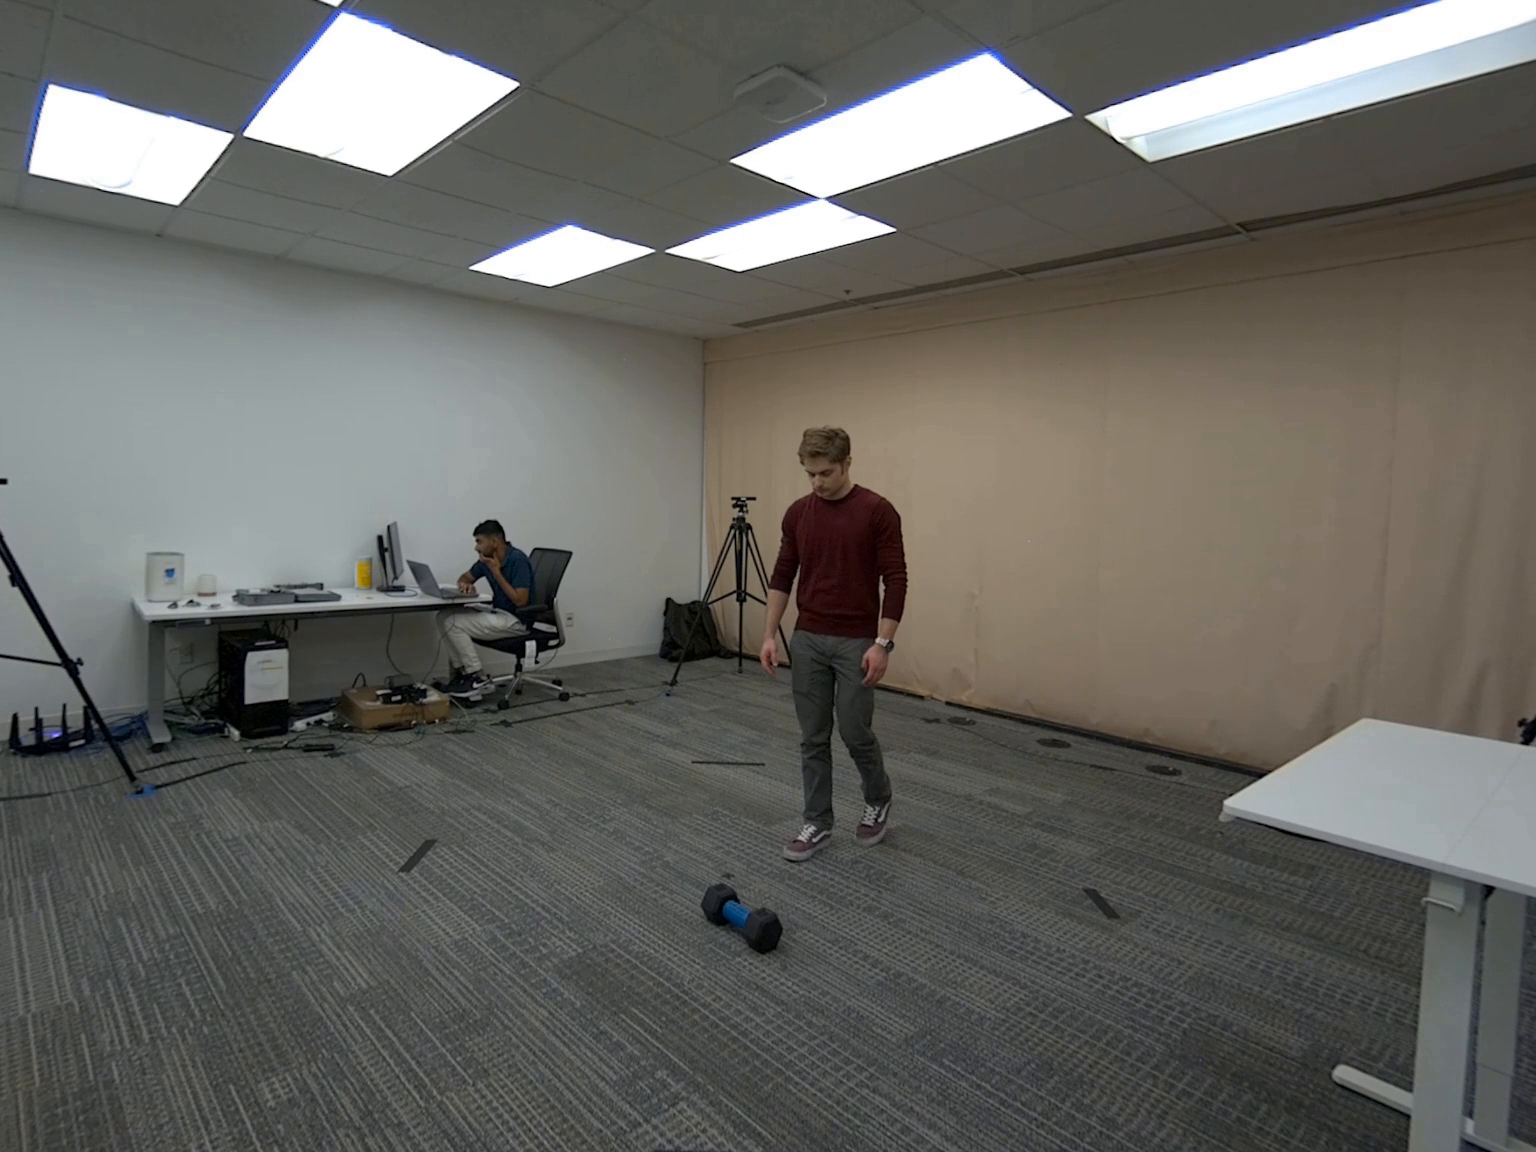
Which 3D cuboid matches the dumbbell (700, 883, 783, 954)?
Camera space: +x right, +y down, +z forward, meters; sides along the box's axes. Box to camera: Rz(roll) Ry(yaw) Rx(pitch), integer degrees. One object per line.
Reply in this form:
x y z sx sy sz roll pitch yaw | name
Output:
-0.092 1.093 2.691 0.108 0.120 0.301 -37 26 -30 | dumbbell
